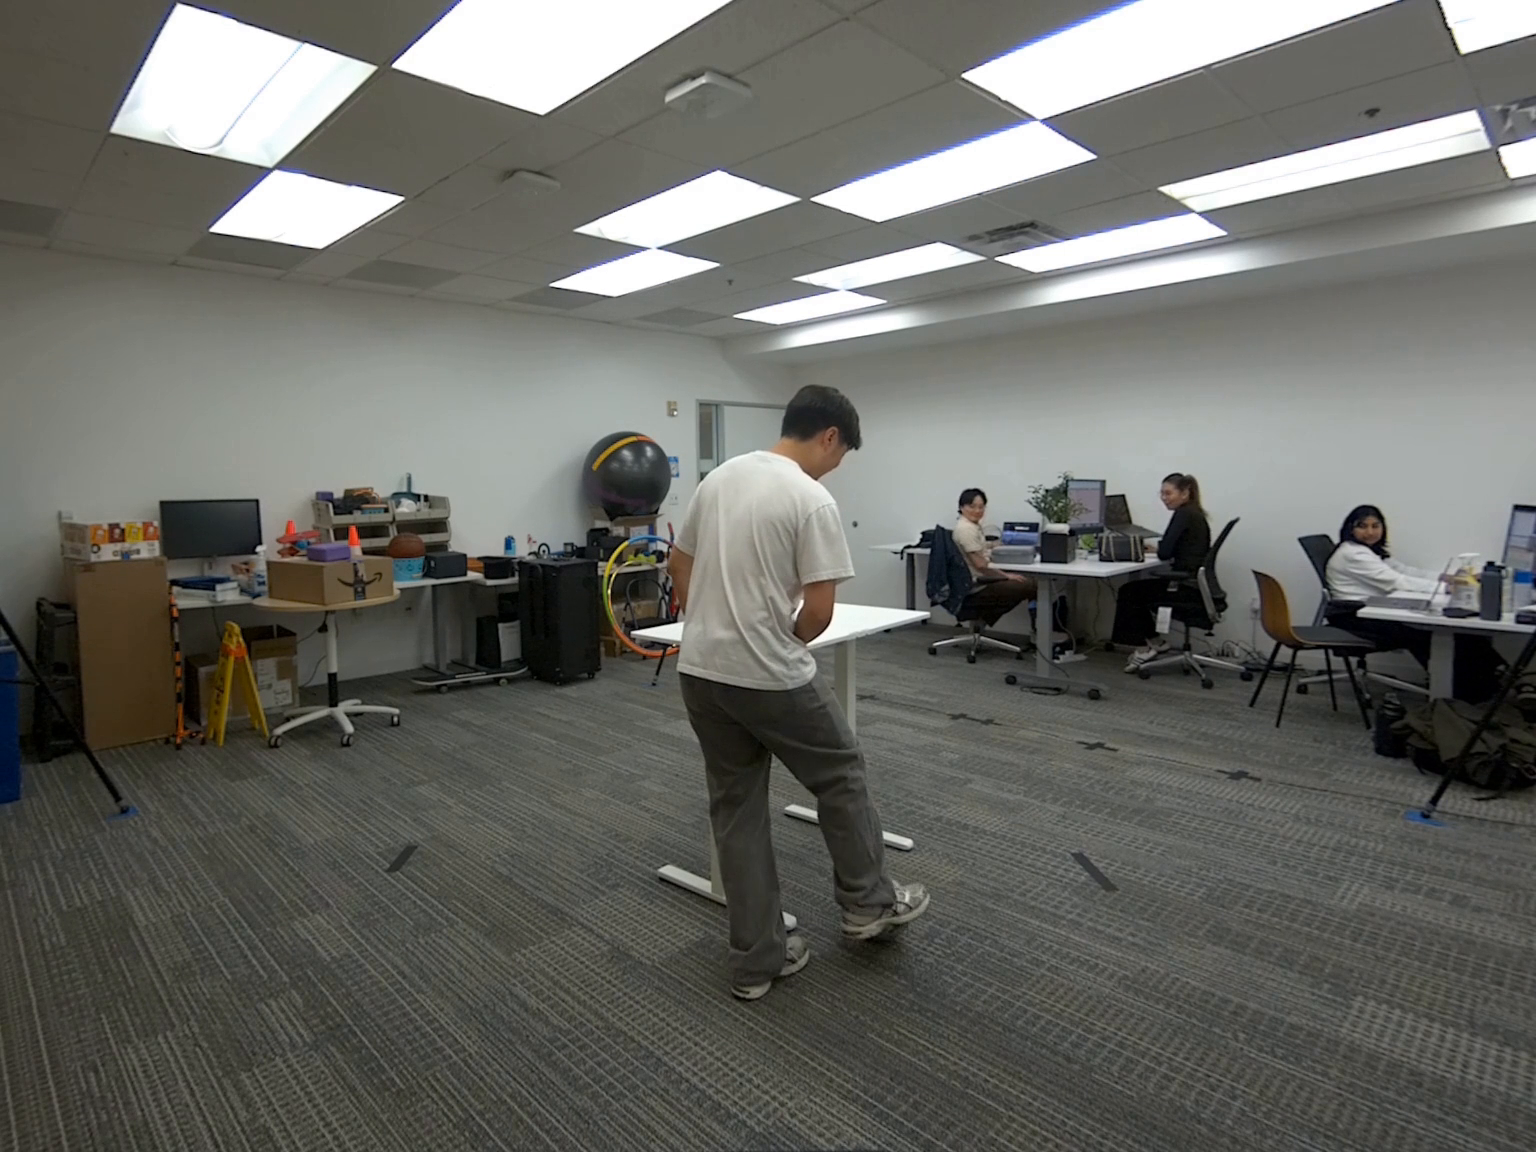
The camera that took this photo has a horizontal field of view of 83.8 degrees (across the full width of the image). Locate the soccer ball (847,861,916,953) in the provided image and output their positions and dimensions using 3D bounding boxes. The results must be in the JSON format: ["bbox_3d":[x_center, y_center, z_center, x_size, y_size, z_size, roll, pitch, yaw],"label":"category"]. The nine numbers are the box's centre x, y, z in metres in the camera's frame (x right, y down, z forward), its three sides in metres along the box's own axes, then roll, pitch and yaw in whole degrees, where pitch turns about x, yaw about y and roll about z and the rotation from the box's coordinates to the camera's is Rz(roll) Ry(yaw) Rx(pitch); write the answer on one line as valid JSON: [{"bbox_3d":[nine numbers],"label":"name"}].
[{"bbox_3d":[0.334,1.007,2.620,0.187,0.187,0.188,-1,5,-2],"label":"soccer ball"}]
